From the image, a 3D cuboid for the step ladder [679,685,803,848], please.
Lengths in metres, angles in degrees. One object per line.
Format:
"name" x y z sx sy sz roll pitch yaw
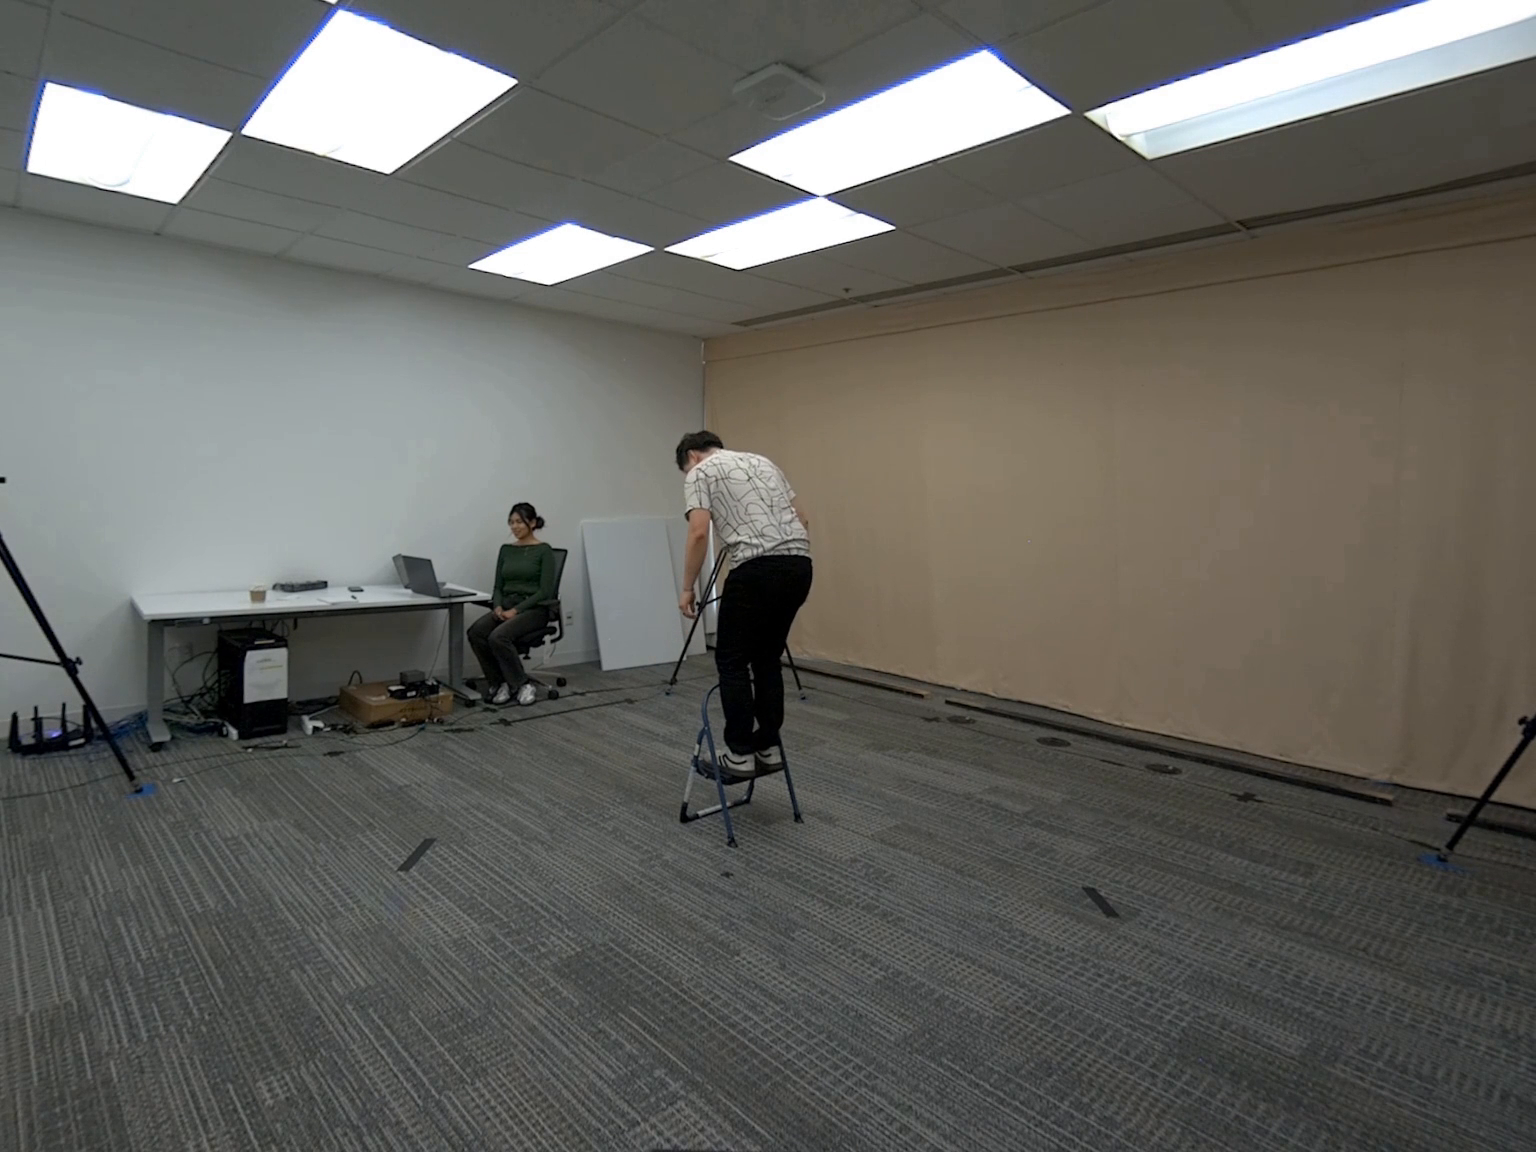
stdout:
"step ladder" -0.117 0.754 3.603 0.358 0.605 0.421 4 4 44
